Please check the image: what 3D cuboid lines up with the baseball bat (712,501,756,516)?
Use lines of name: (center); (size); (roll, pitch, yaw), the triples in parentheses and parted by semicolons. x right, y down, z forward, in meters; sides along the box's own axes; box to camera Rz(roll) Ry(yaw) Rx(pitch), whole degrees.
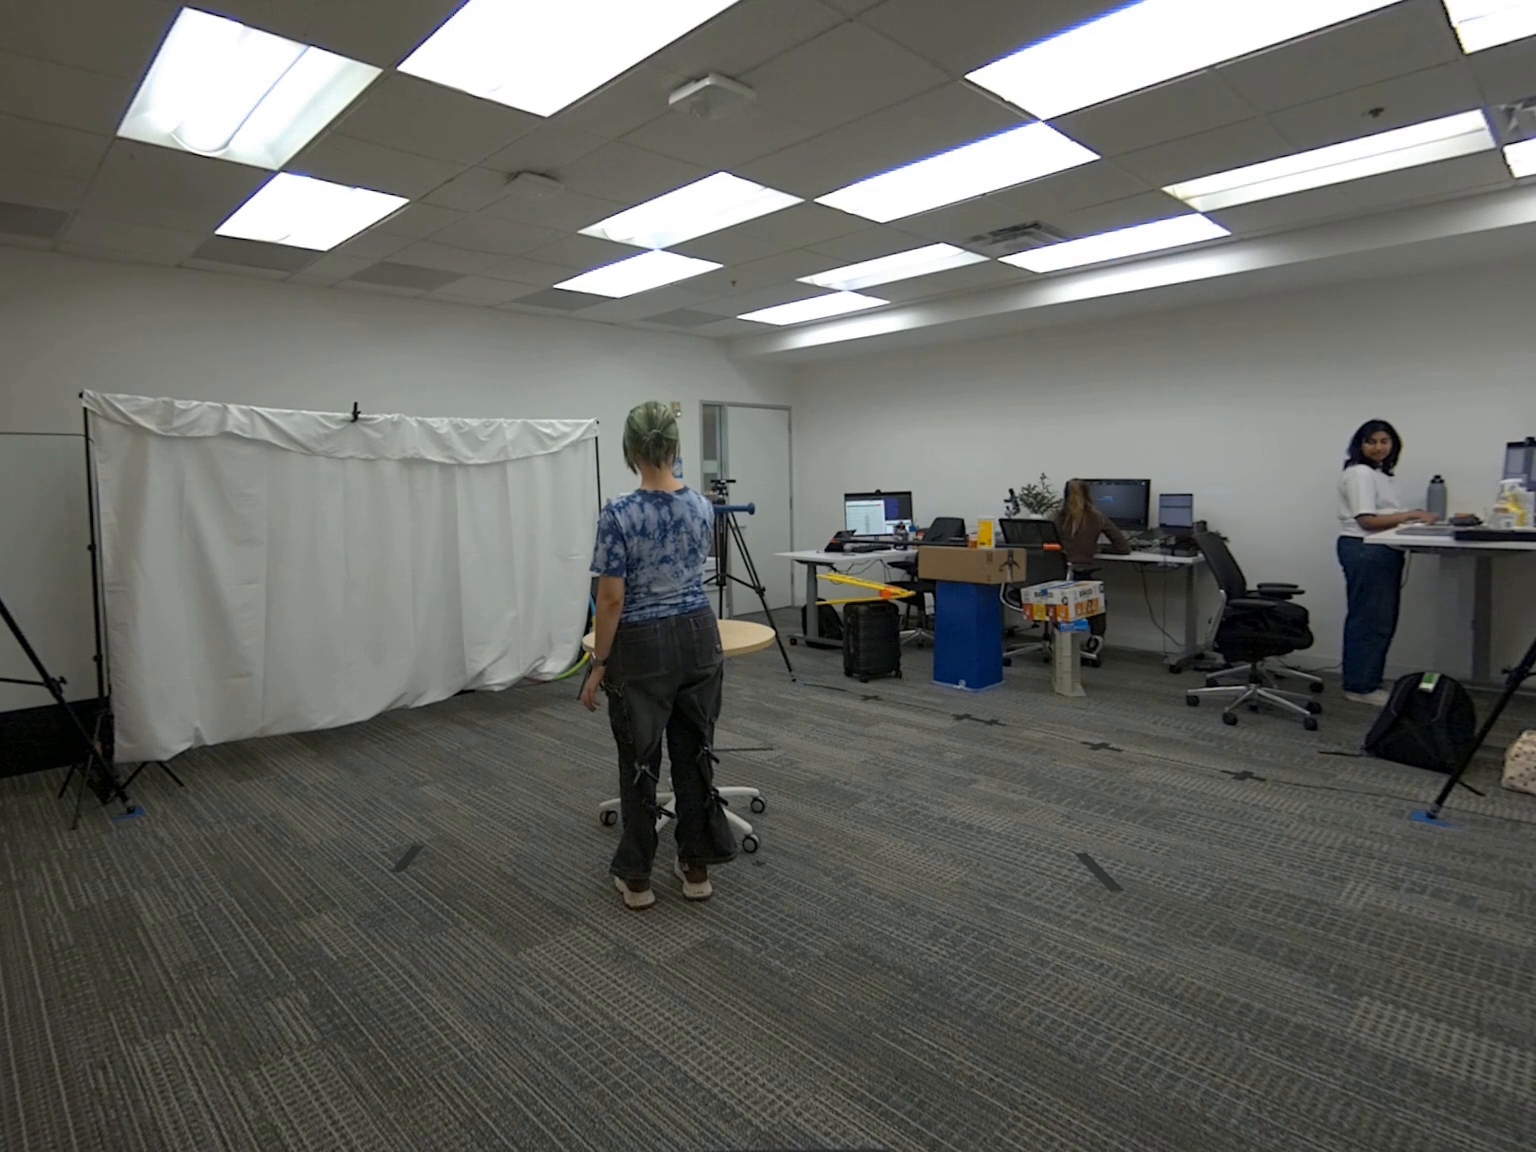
baseball bat: (-0.321, -0.268, 3.343); (0.538, 0.089, 0.090); (2, 4, -9)
